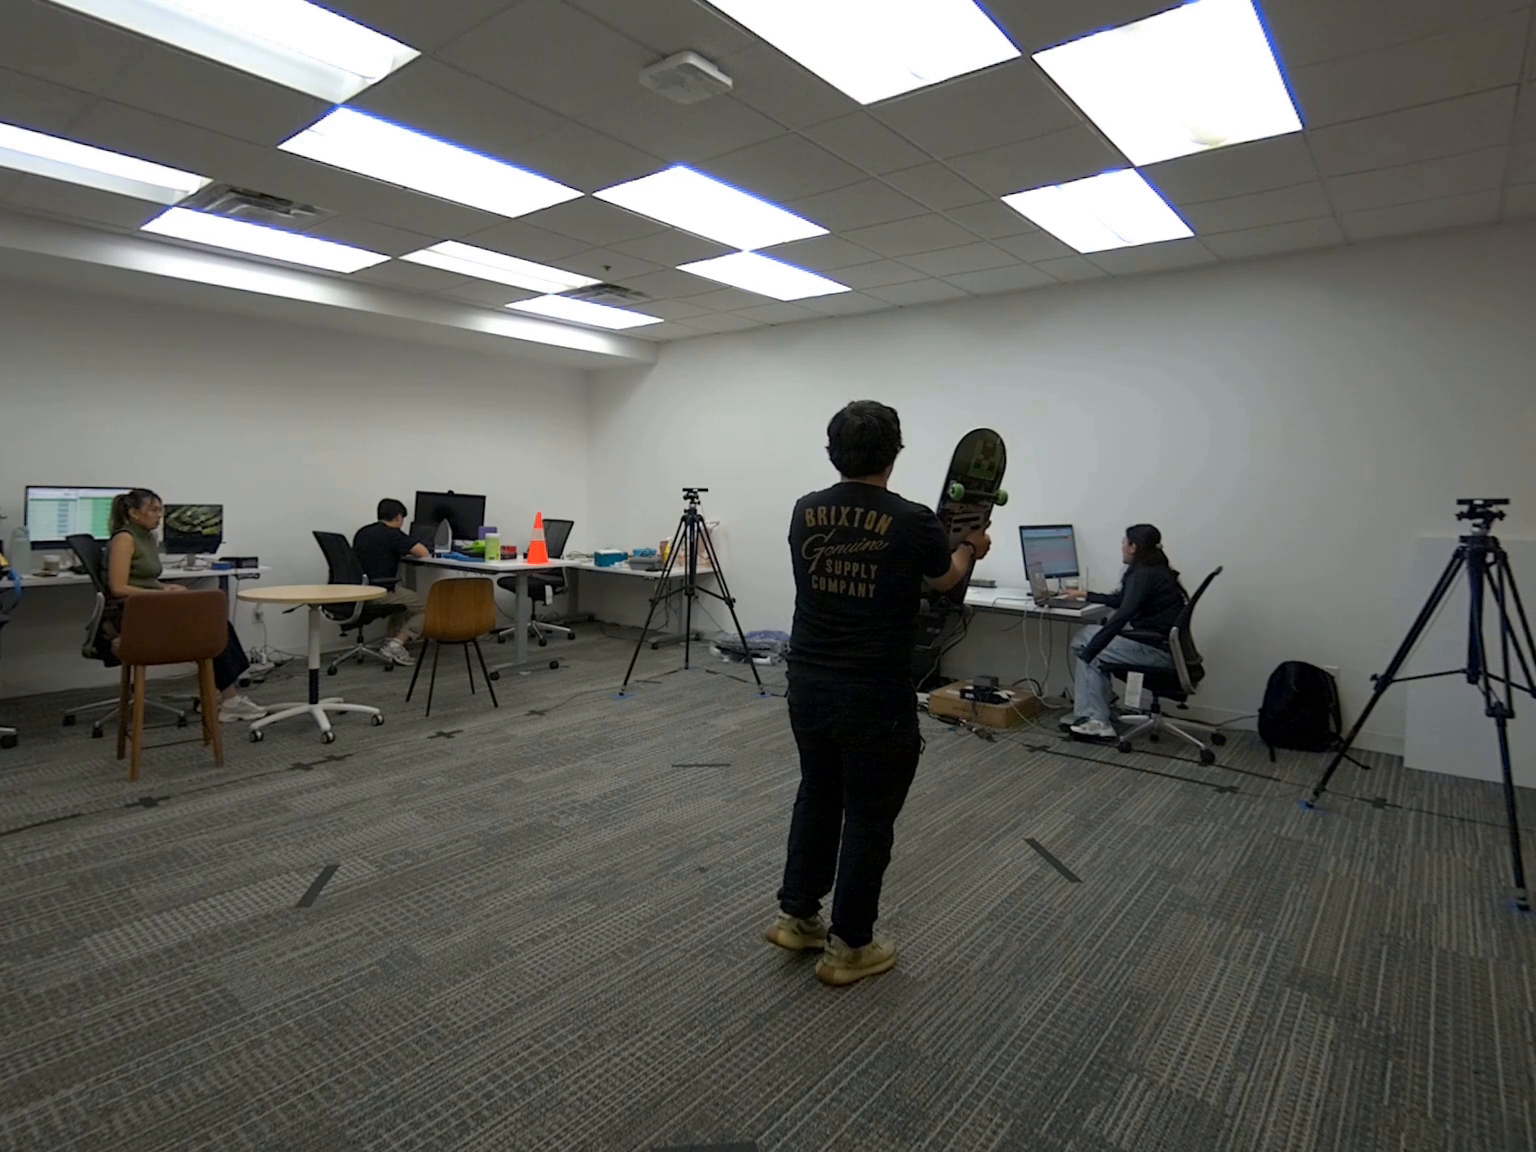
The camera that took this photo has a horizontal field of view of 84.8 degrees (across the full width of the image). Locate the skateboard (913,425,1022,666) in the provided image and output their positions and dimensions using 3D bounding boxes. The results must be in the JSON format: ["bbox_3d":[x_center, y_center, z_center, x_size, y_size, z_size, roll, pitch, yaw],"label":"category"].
[{"bbox_3d":[0.596,-0.086,2.738,0.190,0.774,0.114,6,21,-14],"label":"skateboard"}]
